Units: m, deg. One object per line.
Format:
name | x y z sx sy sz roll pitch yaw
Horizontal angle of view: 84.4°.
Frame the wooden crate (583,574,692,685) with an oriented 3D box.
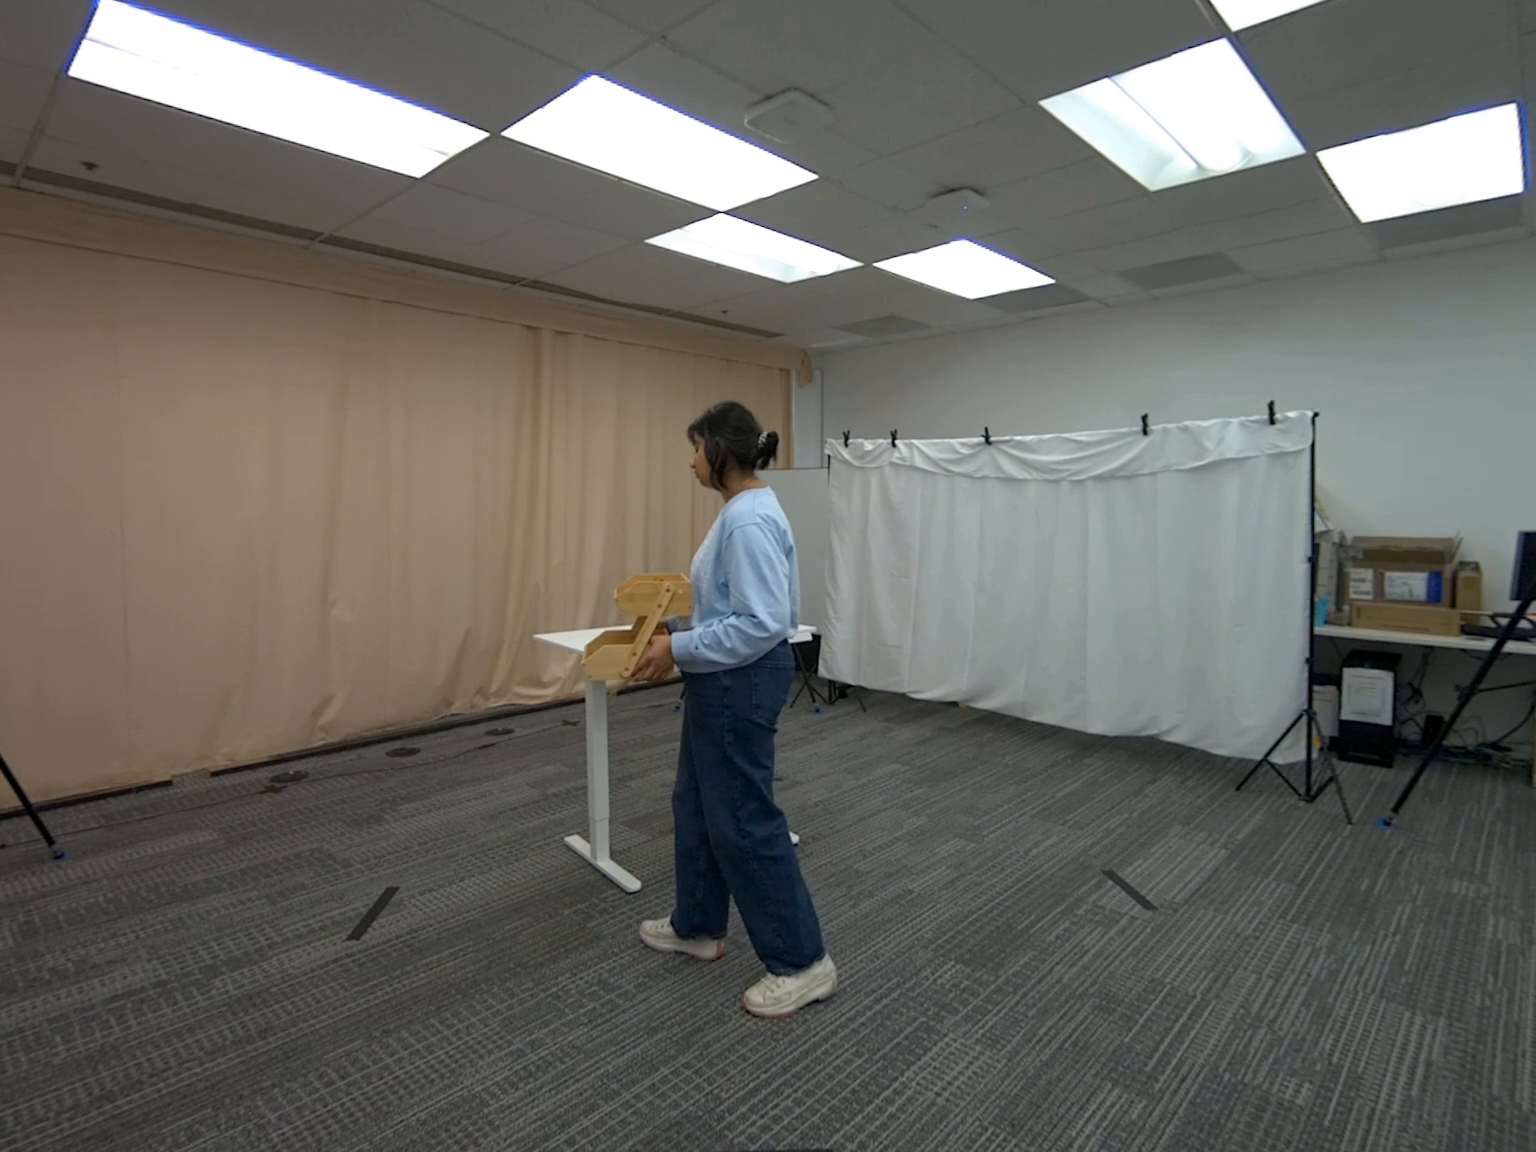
wooden crate | -0.387 0.136 2.410 0.300 0.273 0.327 0 4 -6
